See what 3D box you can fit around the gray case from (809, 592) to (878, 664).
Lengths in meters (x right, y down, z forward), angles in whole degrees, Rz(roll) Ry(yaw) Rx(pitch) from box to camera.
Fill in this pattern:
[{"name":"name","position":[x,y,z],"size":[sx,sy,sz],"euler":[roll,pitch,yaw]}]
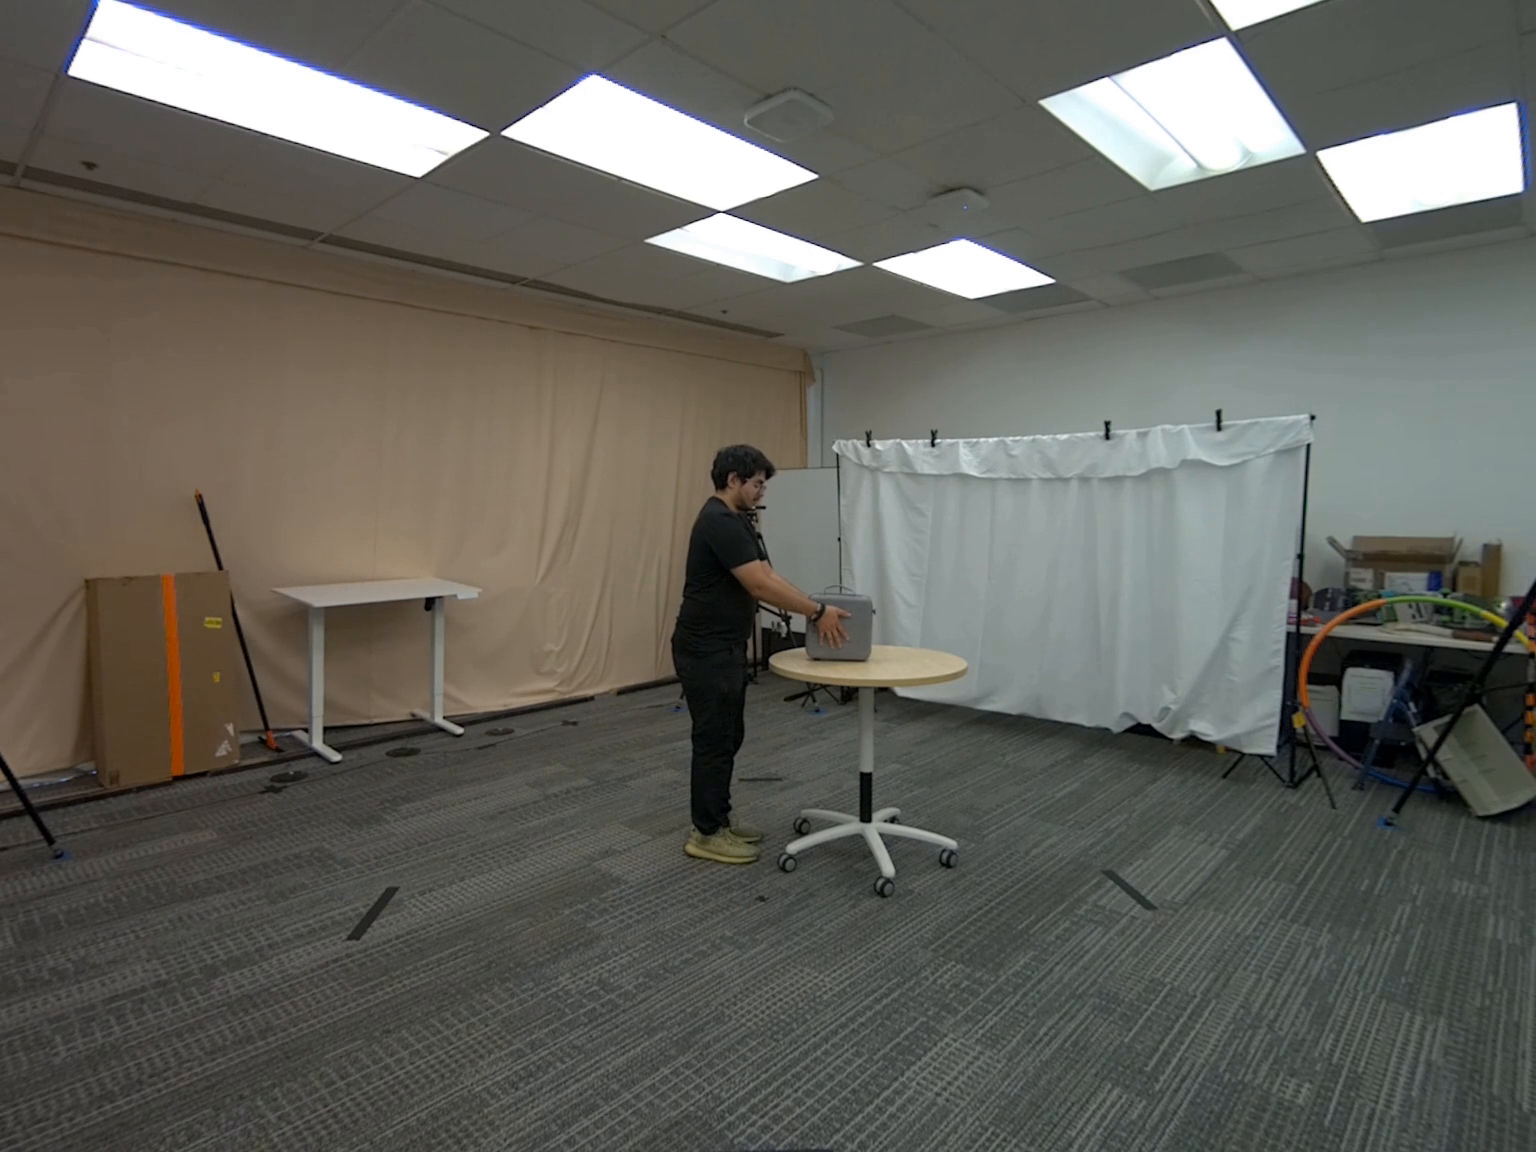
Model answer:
[{"name":"gray case","position":[0.289,0.199,3.302],"size":[0.258,0.260,0.104],"euler":[0,2,6]}]
